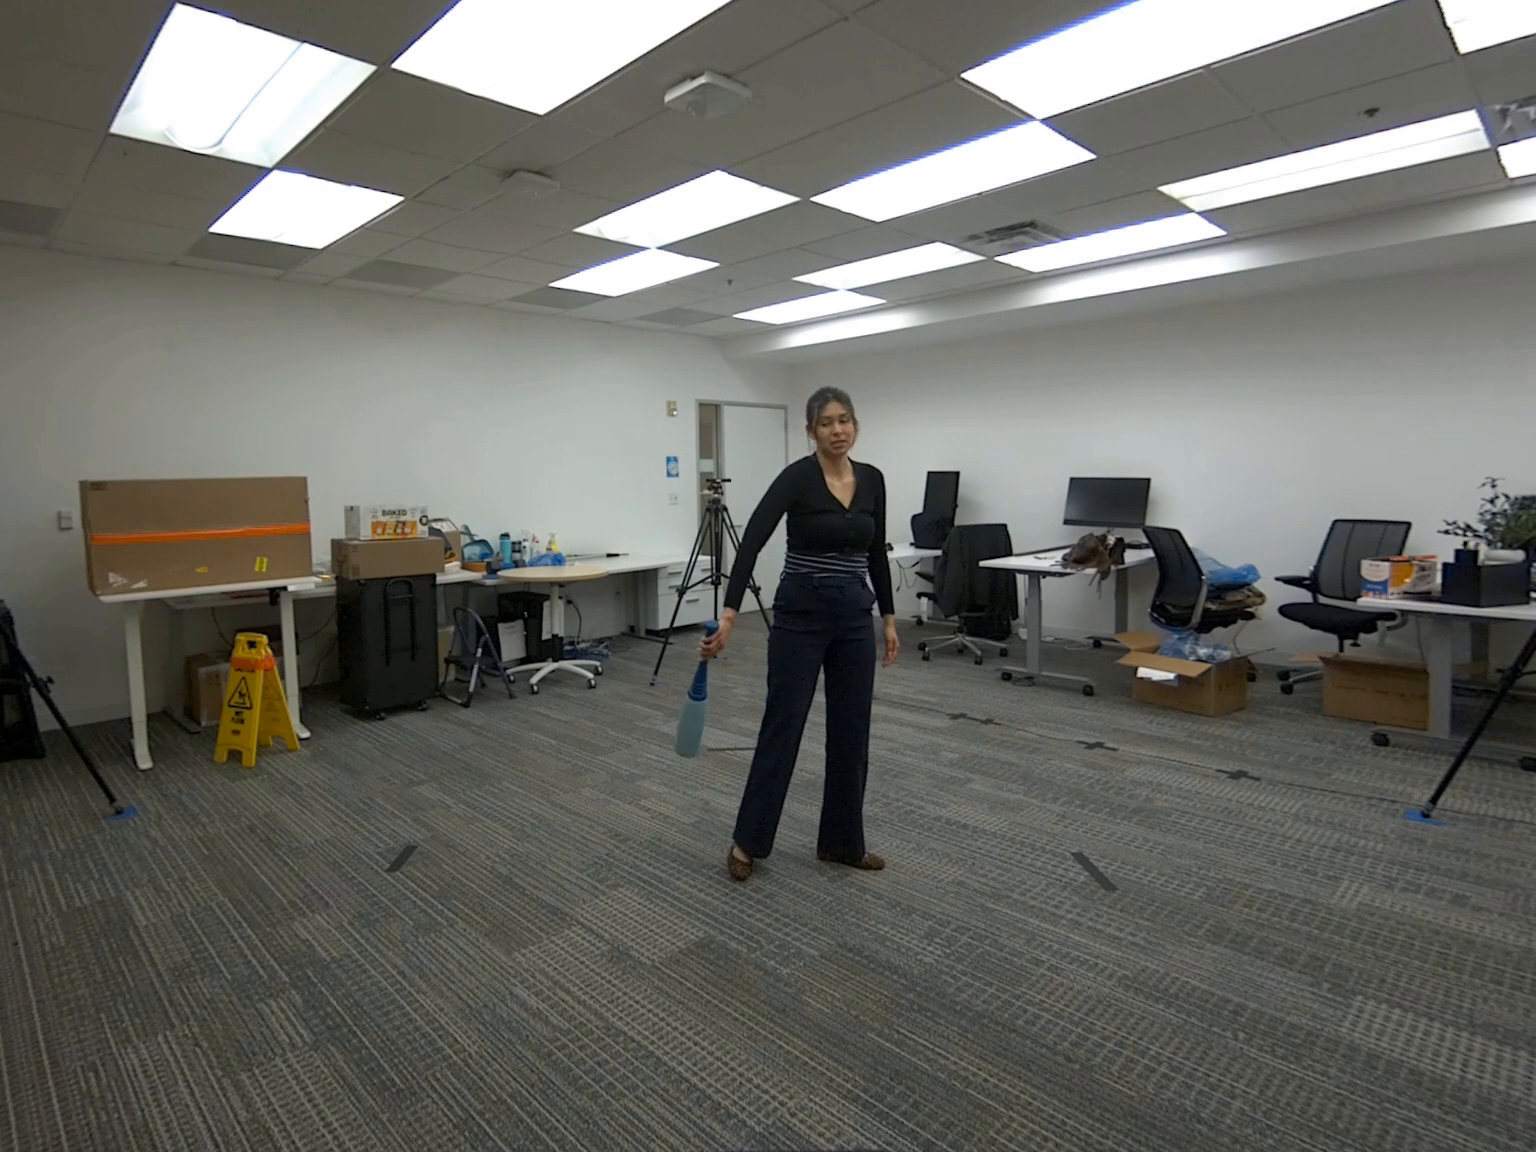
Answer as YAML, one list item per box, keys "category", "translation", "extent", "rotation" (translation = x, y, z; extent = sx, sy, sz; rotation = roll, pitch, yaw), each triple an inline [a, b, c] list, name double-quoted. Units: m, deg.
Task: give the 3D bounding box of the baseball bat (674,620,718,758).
- category: "baseball bat"
  translation: [-0.219, 0.376, 2.838]
  extent: [0.088, 0.533, 0.091]
  rotation: [6, 29, -5]
